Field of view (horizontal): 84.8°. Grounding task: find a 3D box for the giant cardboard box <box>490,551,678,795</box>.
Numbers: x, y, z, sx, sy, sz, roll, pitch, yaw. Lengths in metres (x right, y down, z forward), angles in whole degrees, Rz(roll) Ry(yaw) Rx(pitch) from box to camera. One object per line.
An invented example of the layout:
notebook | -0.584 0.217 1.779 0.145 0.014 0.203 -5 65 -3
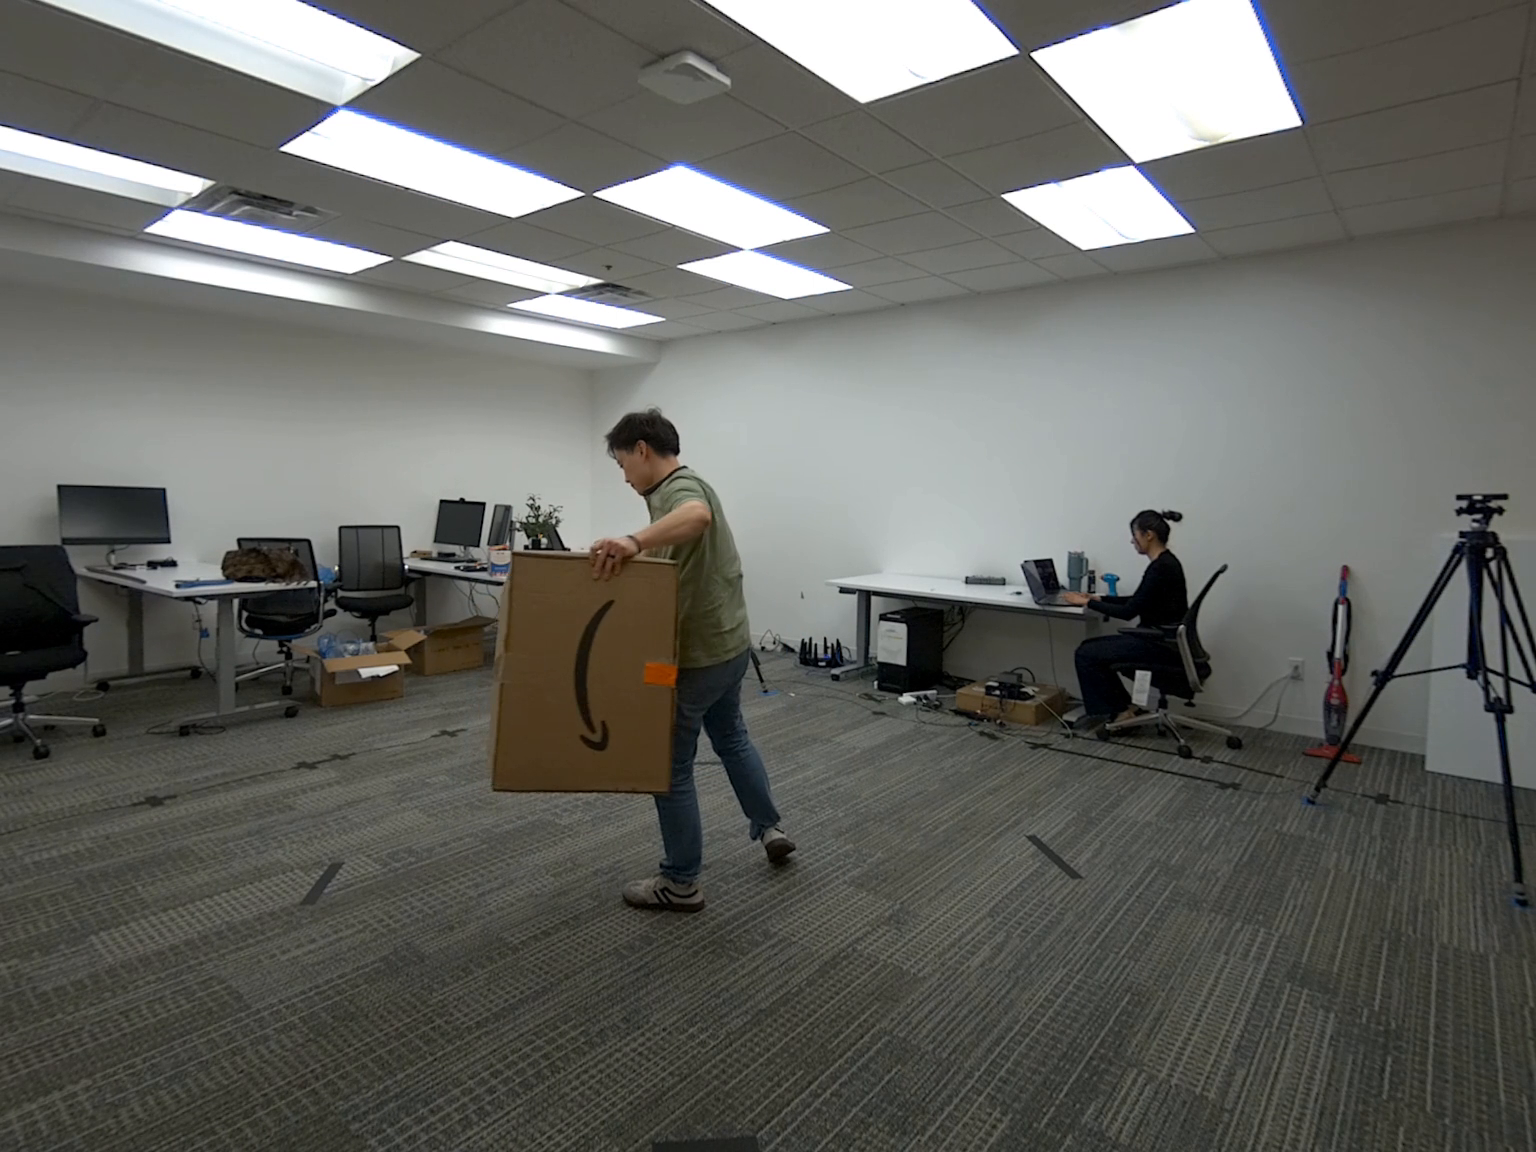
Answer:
giant cardboard box | -0.601 0.296 2.564 0.418 0.583 1.035 5 -9 -18
